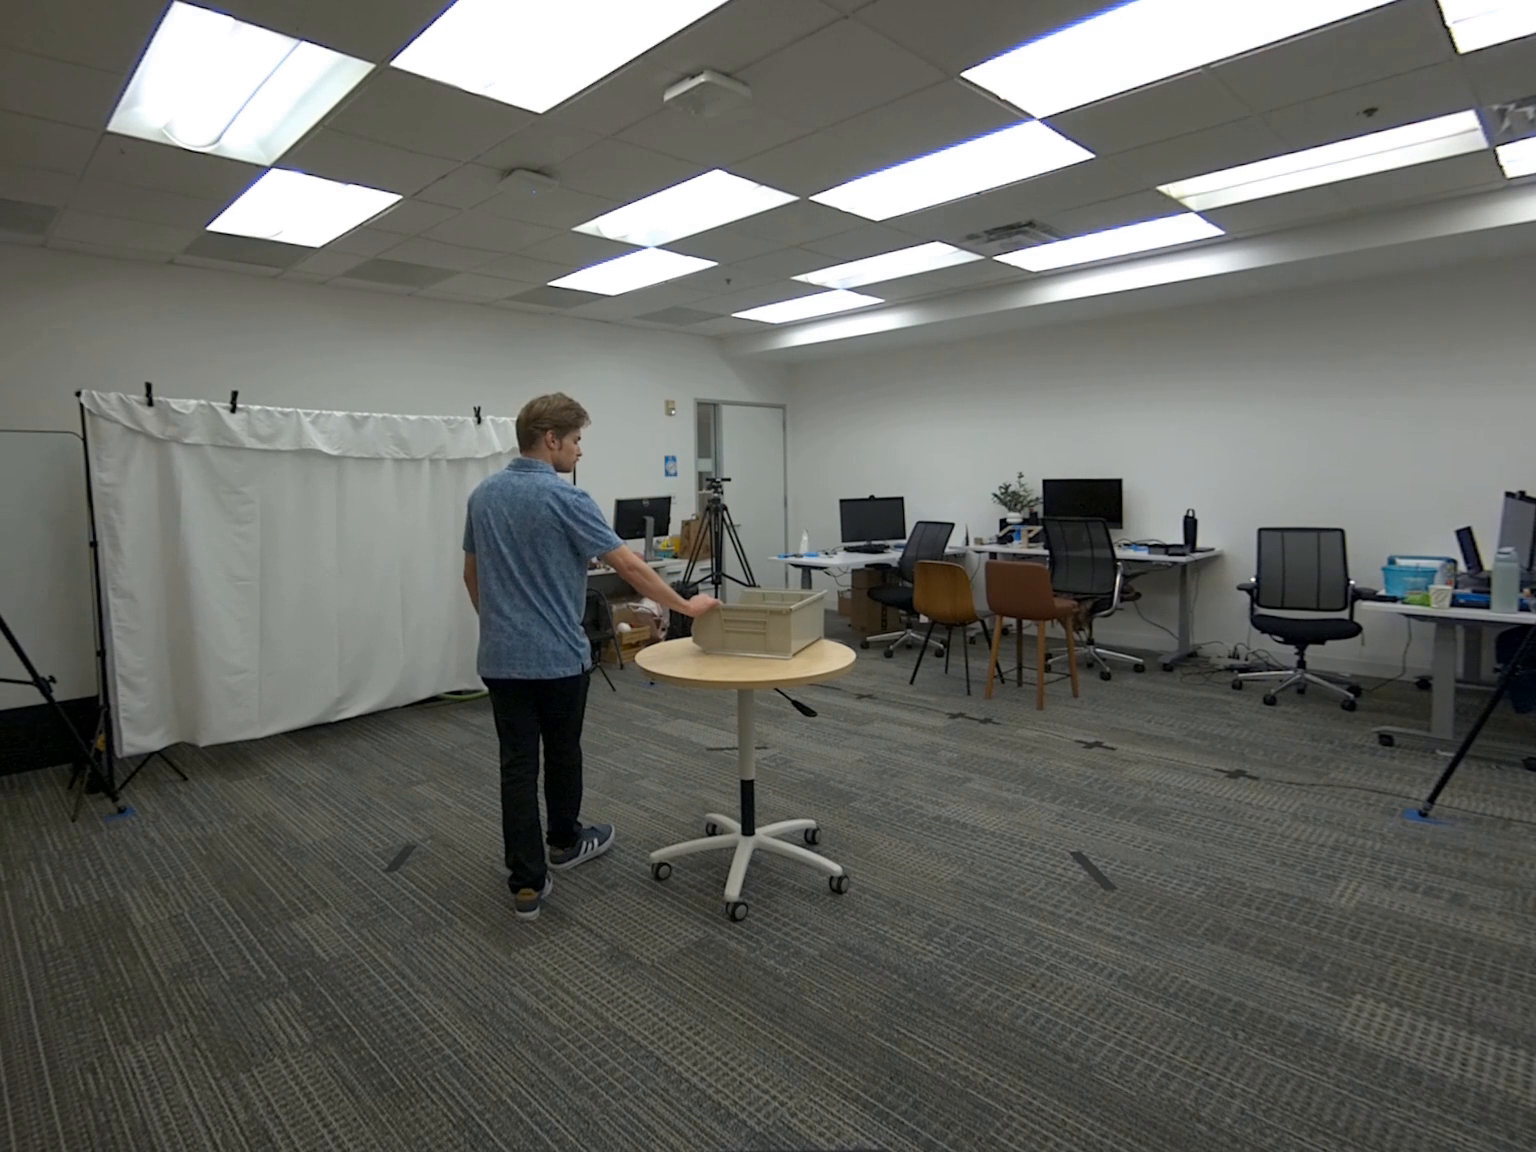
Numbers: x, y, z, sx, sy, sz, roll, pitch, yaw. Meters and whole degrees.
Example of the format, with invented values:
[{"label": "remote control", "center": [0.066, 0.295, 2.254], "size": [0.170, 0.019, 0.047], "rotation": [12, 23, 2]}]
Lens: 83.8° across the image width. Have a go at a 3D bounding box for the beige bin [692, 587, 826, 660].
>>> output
[{"label": "beige bin", "center": [-0.025, 0.166, 3.128], "size": [0.385, 0.188, 0.415], "rotation": [3, 6, 21]}]
